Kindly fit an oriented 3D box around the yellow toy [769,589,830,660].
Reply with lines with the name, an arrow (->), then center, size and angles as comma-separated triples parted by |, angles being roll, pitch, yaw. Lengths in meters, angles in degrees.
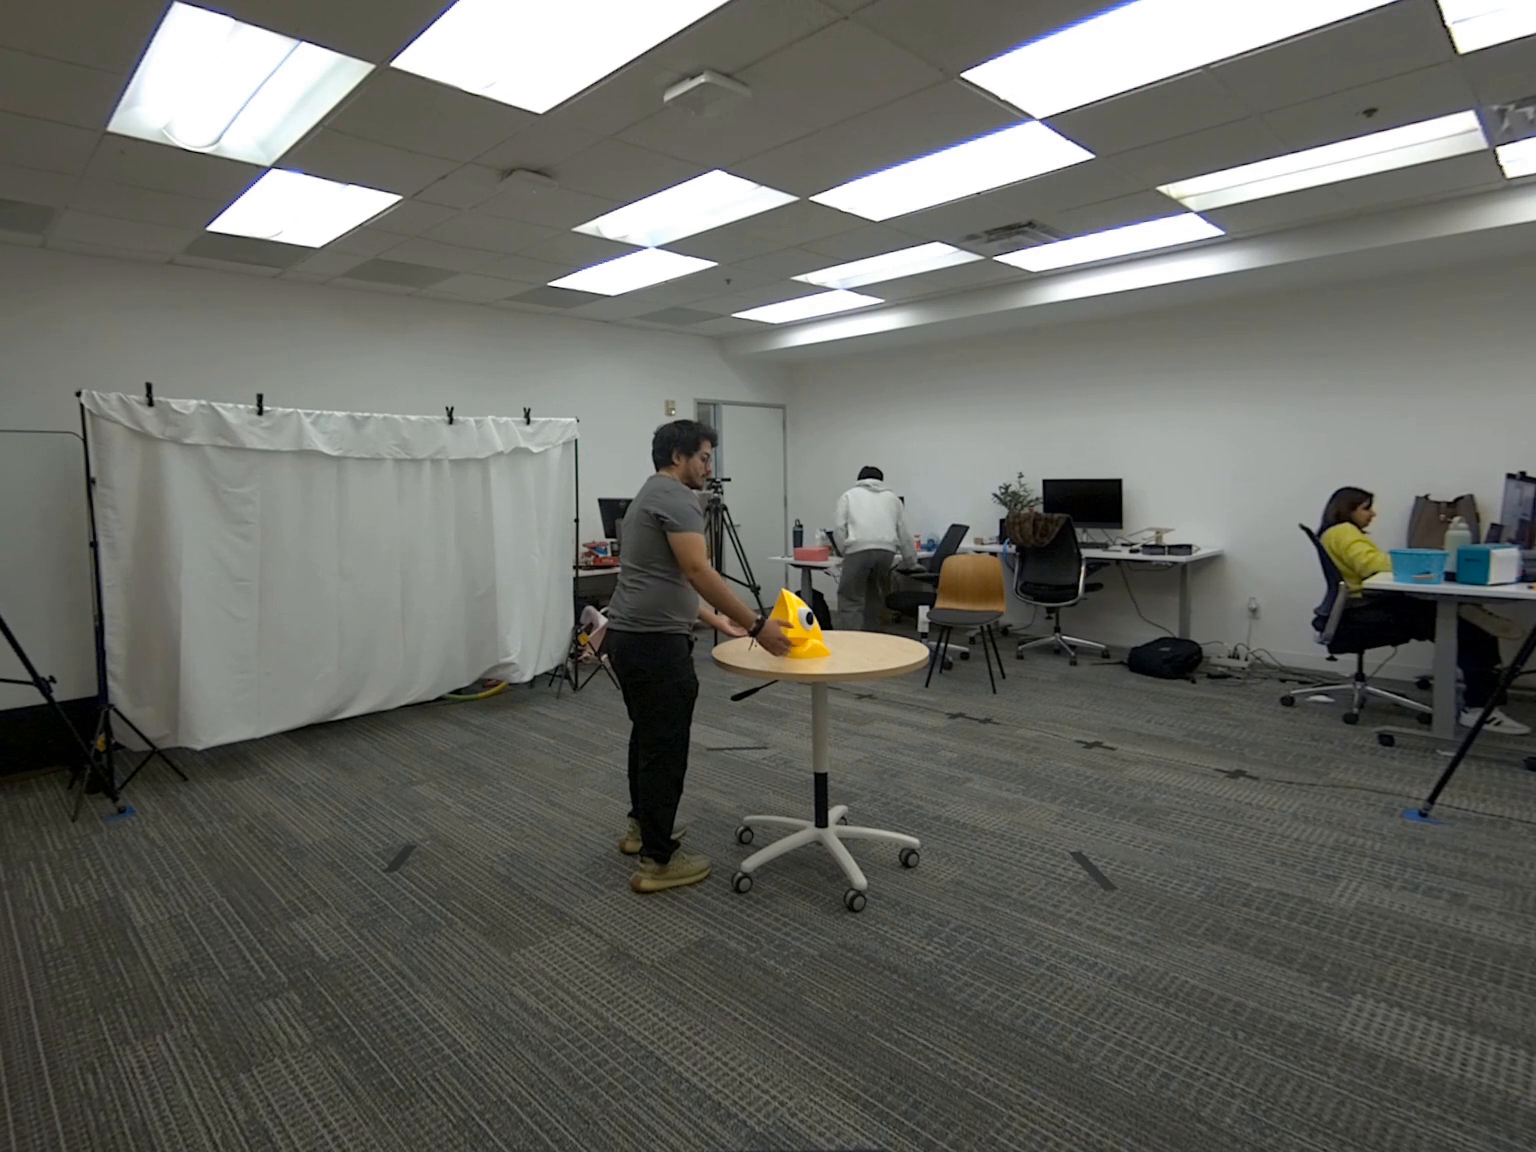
yellow toy -> 0.104, 0.155, 2.990 | 0.189, 0.230, 0.209 | -3, 5, -22
